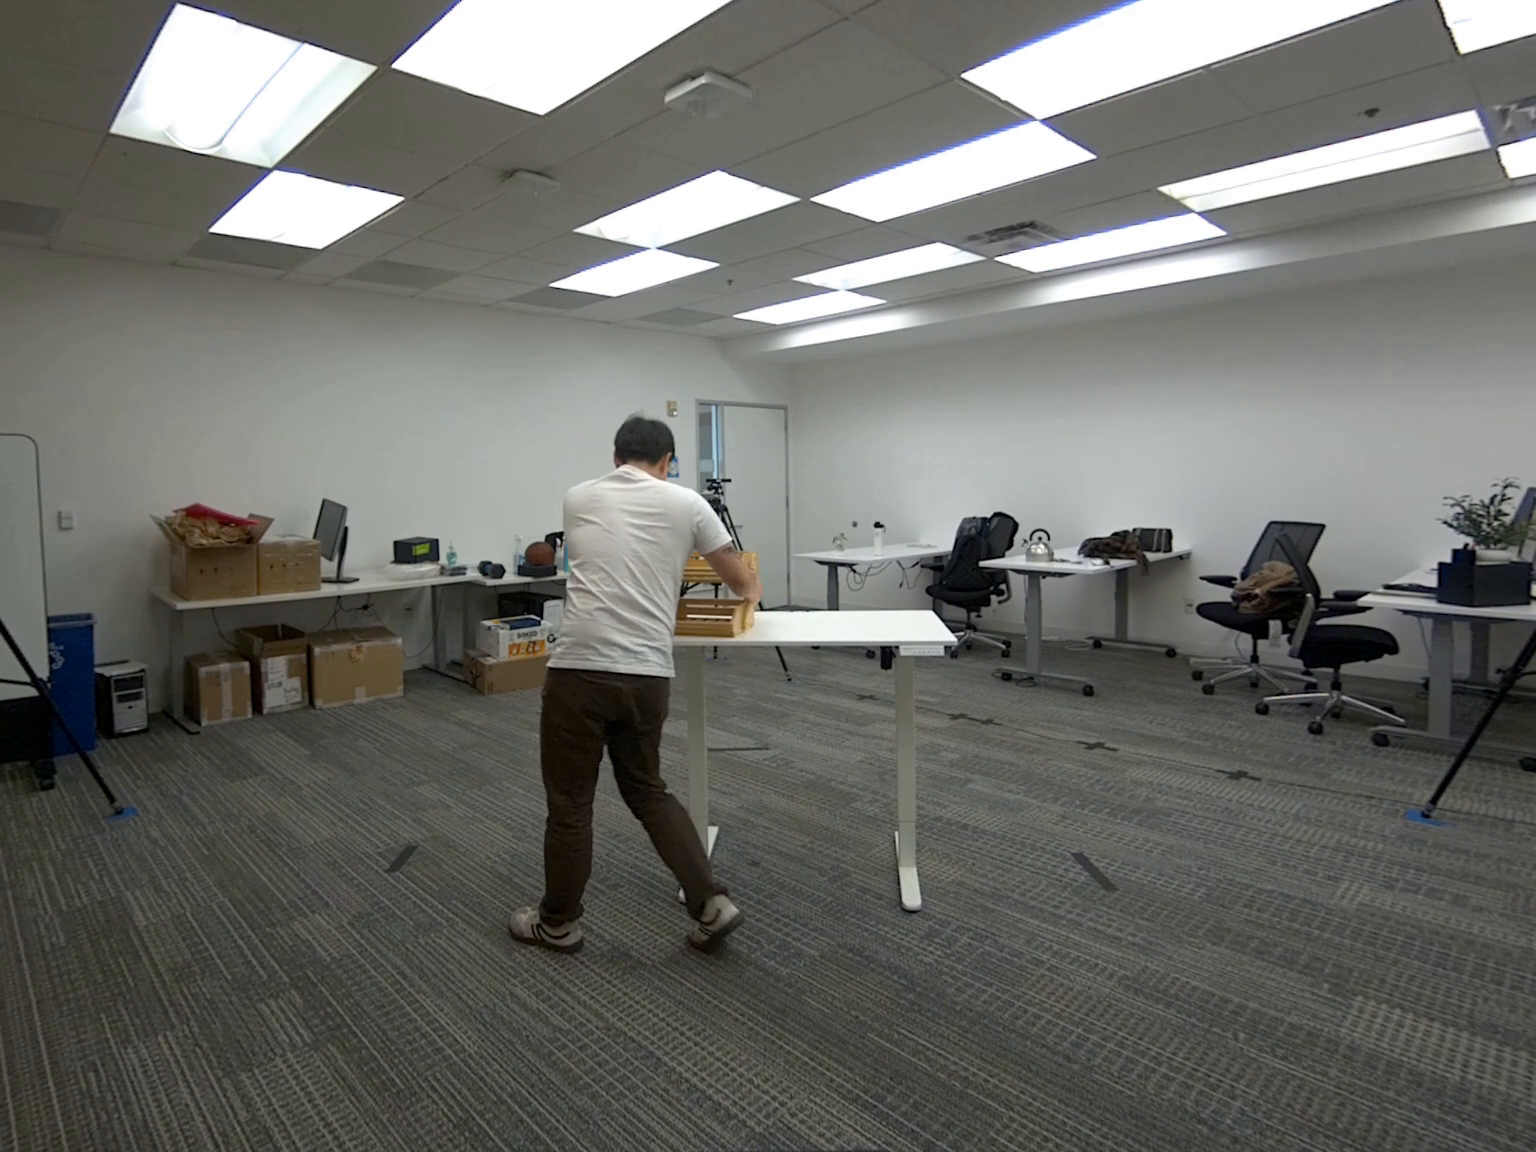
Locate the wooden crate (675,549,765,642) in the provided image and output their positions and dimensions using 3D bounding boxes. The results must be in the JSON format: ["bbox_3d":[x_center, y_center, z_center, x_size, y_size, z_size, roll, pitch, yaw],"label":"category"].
[{"bbox_3d":[-0.215,0.054,2.953,0.330,0.272,0.298,0,5,17],"label":"wooden crate"}]
